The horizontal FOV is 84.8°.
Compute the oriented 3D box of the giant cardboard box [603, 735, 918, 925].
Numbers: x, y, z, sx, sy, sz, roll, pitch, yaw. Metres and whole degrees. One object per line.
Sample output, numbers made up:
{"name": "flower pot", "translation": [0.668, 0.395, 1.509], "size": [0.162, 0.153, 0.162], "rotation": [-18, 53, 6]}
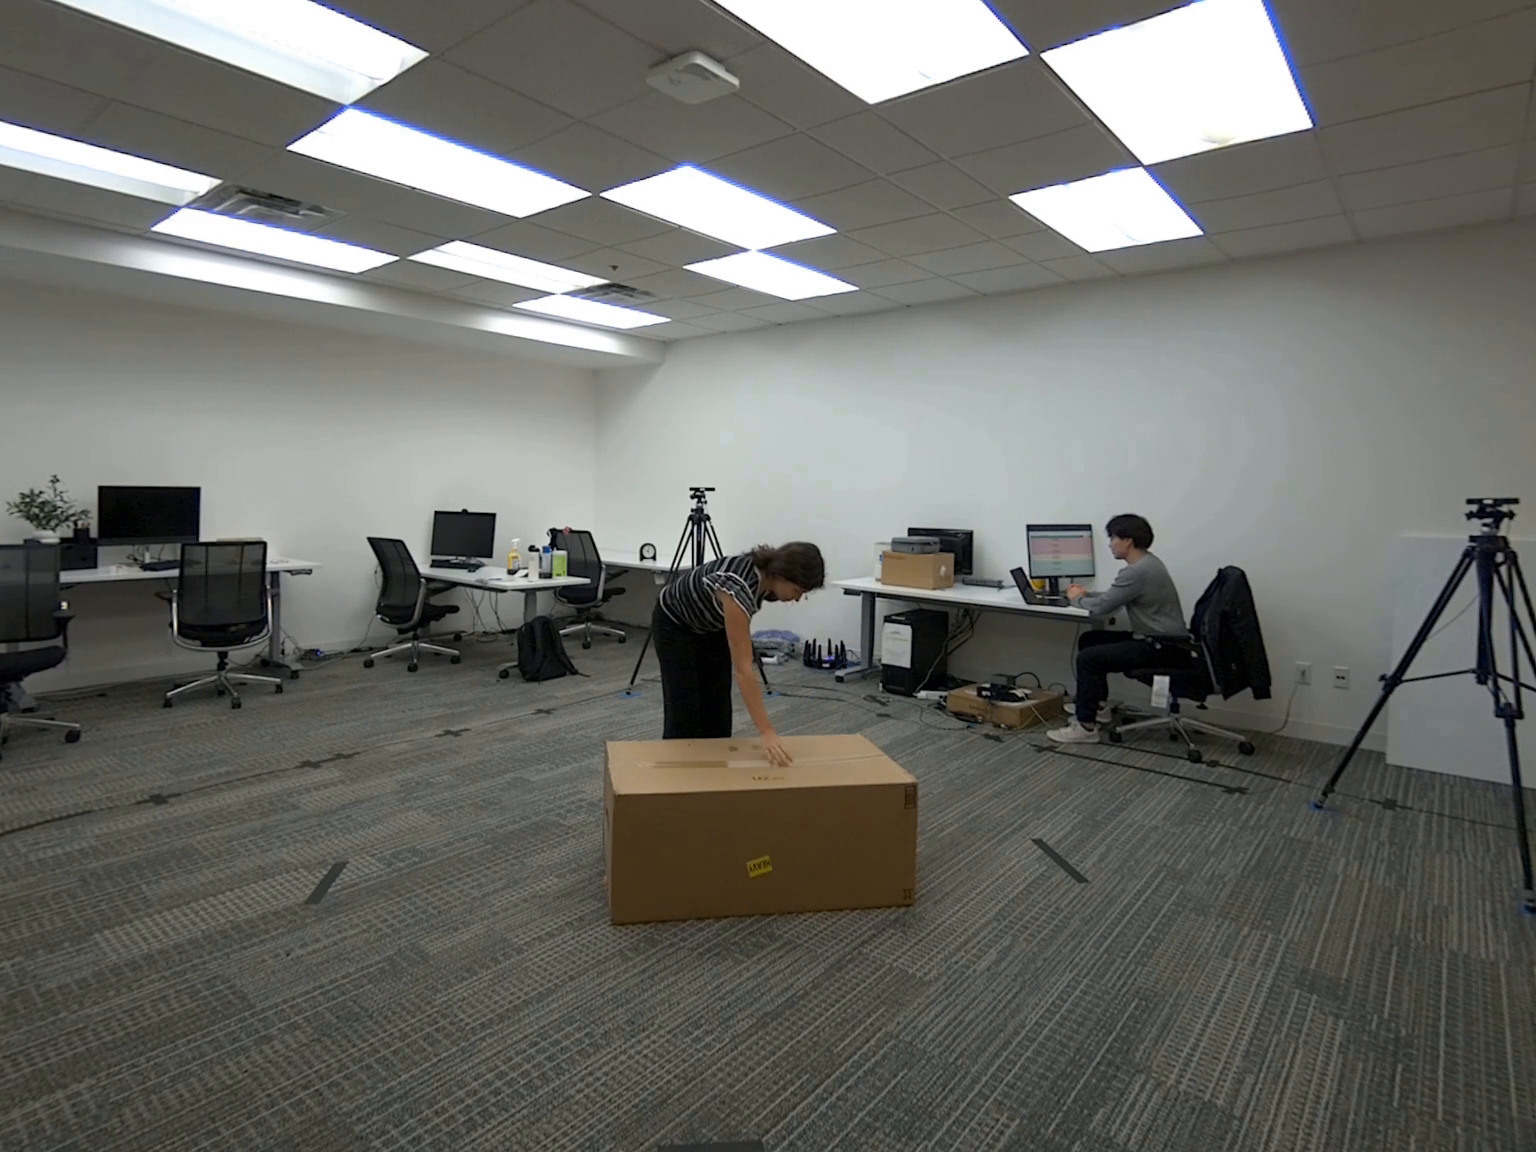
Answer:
{"name": "giant cardboard box", "translation": [-0.068, 0.865, 3.042], "size": [1.014, 0.425, 0.586], "rotation": [0, 4, -11]}
